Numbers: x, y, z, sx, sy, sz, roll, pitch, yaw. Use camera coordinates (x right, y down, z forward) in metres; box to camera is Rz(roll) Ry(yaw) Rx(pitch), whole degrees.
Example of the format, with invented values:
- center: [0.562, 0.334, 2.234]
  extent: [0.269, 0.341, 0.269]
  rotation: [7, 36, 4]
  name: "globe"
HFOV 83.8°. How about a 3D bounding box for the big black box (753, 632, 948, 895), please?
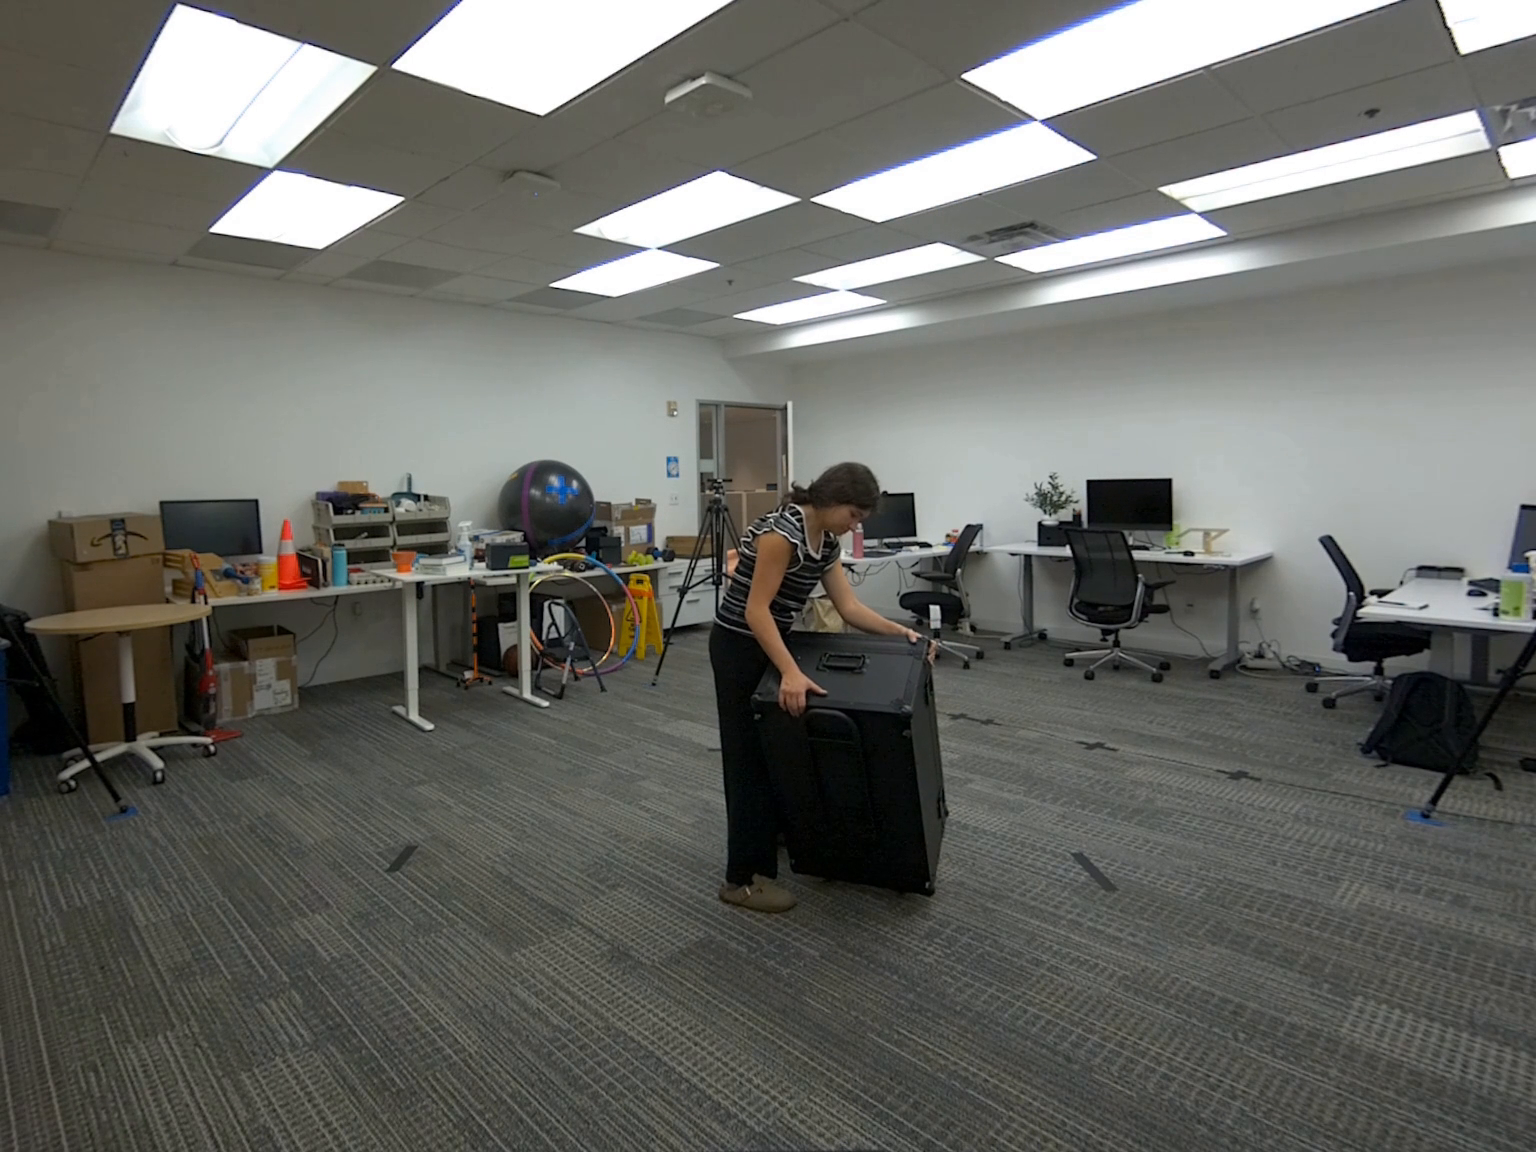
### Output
- center: [0.302, 0.645, 2.808]
  extent: [0.532, 0.837, 0.399]
  rotation: [1, 33, 21]
  name: "big black box"
